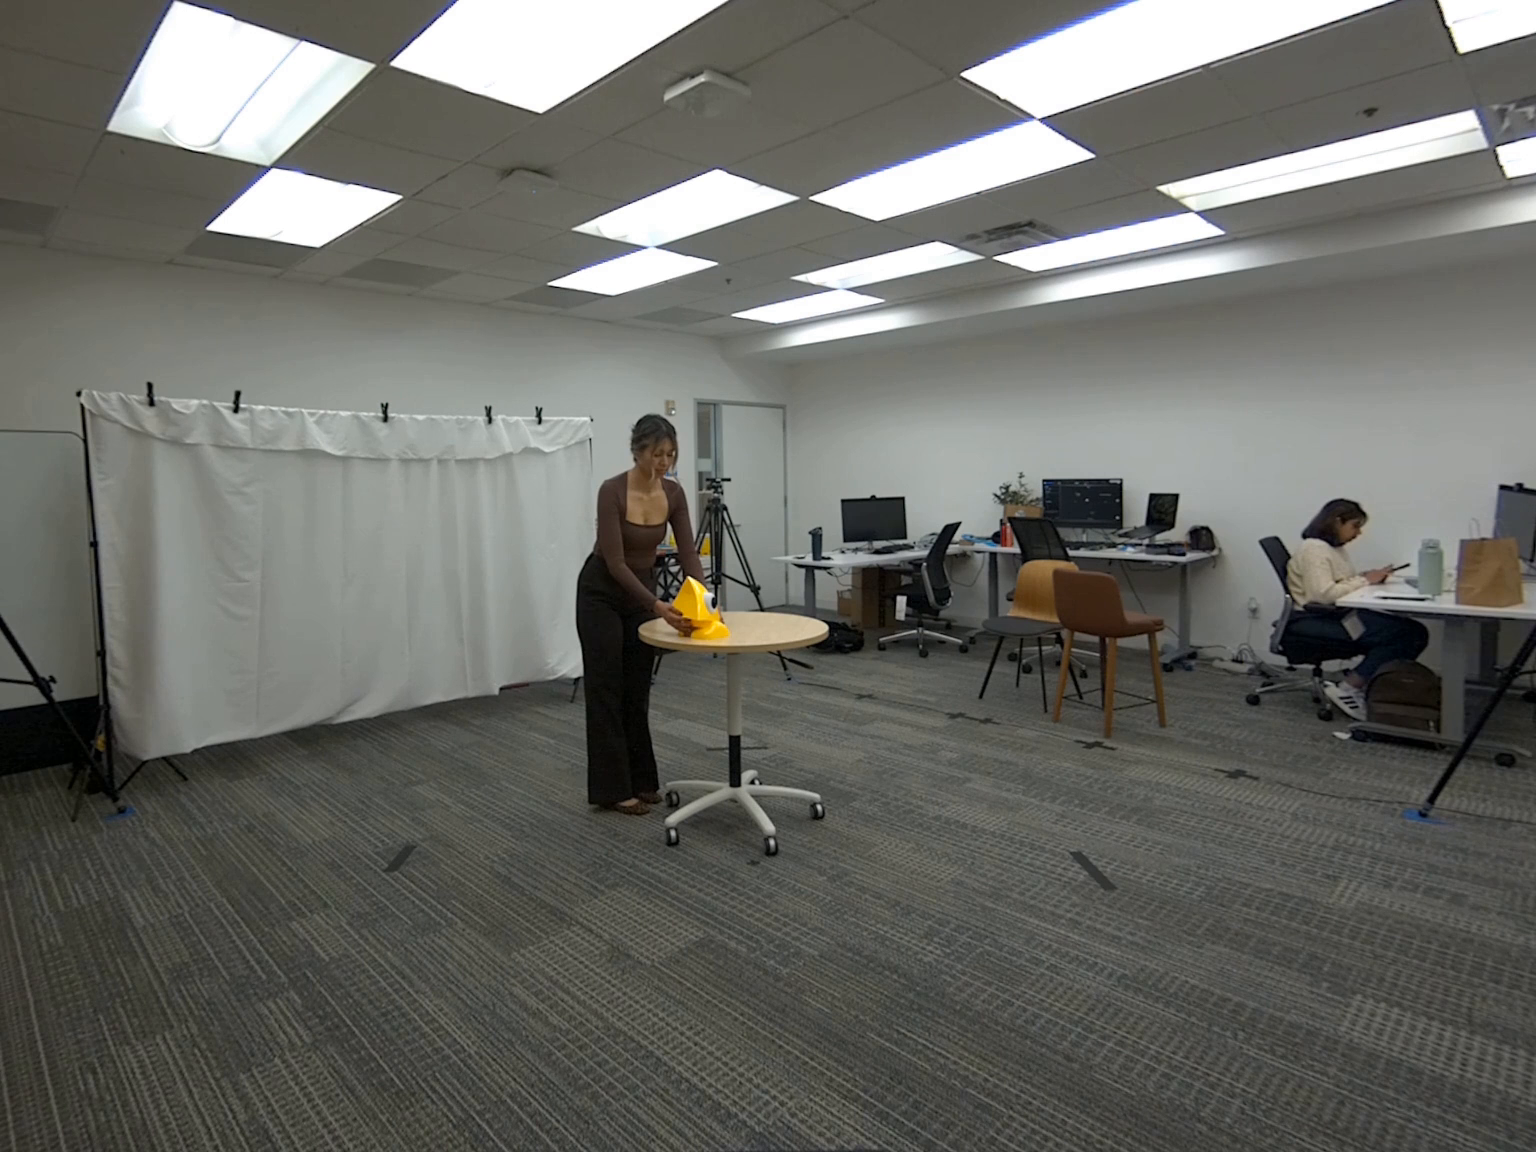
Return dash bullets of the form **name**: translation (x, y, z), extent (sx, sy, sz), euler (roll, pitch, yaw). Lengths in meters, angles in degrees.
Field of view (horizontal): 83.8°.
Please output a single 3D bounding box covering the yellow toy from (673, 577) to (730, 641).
- **yellow toy**: translation (-0.260, 0.111, 3.284), extent (0.188, 0.230, 0.211), euler (-4, 7, -38)
